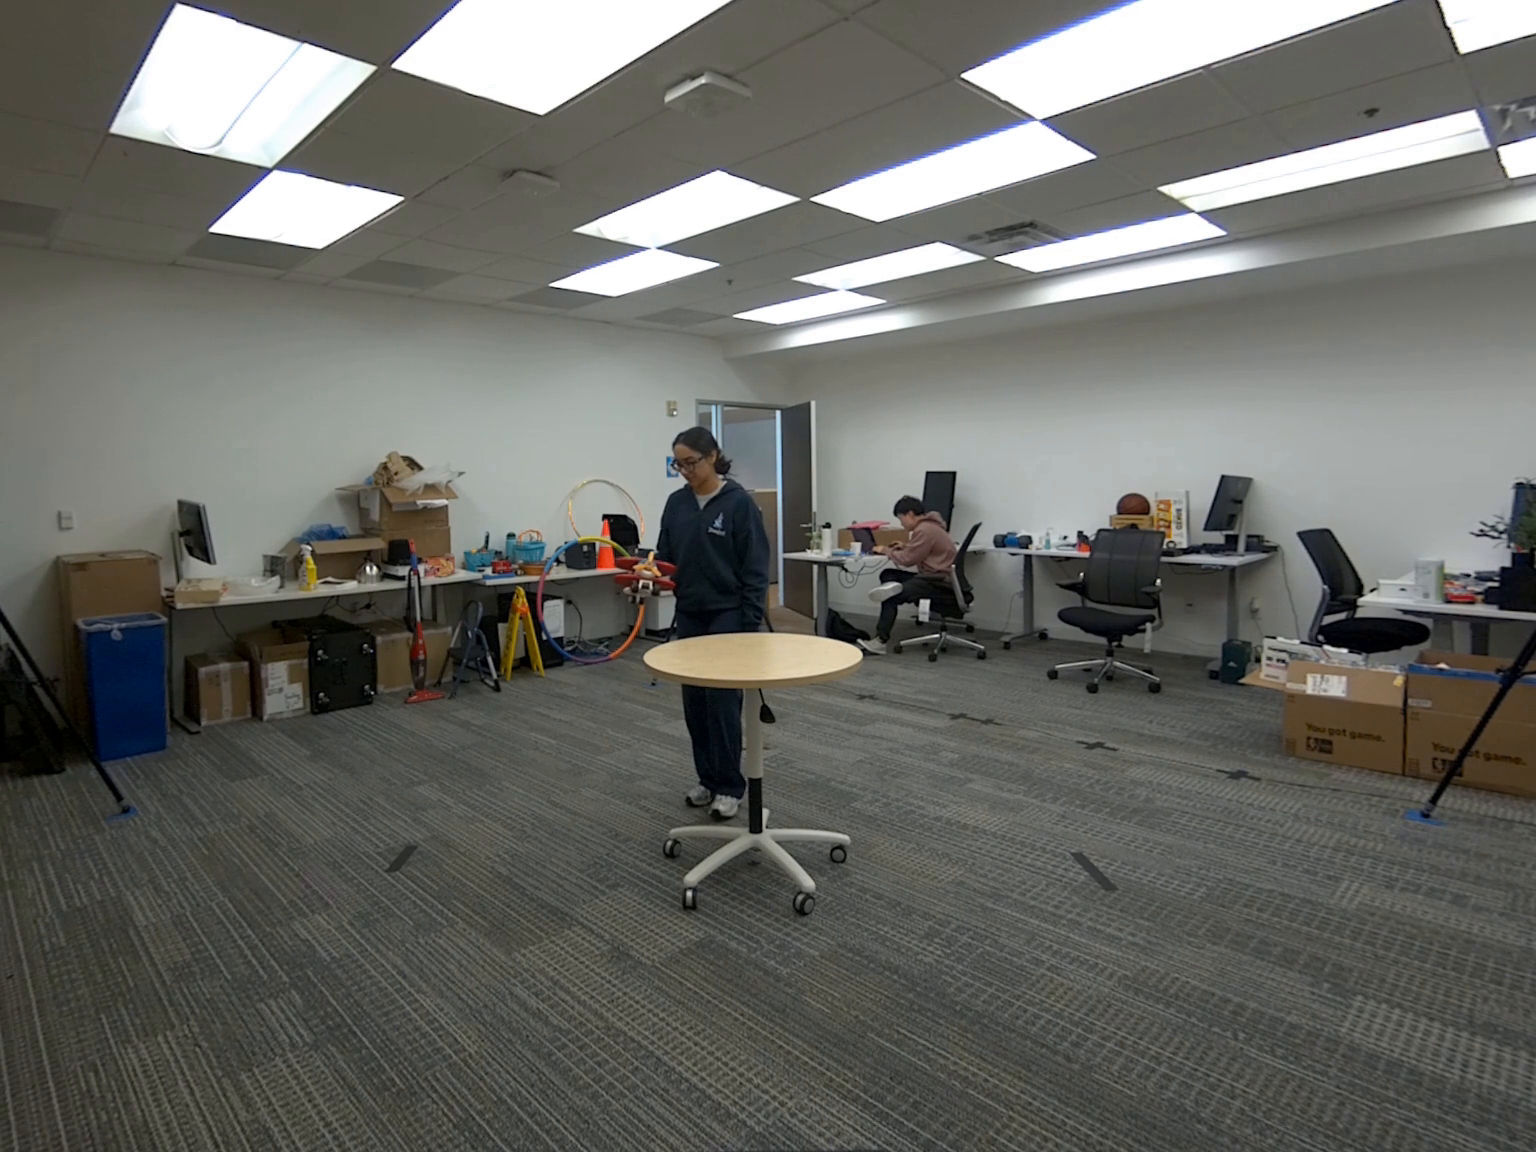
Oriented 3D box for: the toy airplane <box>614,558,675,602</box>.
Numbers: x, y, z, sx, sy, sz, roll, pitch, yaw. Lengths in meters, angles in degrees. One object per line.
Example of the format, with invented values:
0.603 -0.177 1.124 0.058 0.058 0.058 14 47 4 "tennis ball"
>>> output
-0.545 0.022 3.563 0.242 0.159 0.264 17 -22 -38 "toy airplane"
